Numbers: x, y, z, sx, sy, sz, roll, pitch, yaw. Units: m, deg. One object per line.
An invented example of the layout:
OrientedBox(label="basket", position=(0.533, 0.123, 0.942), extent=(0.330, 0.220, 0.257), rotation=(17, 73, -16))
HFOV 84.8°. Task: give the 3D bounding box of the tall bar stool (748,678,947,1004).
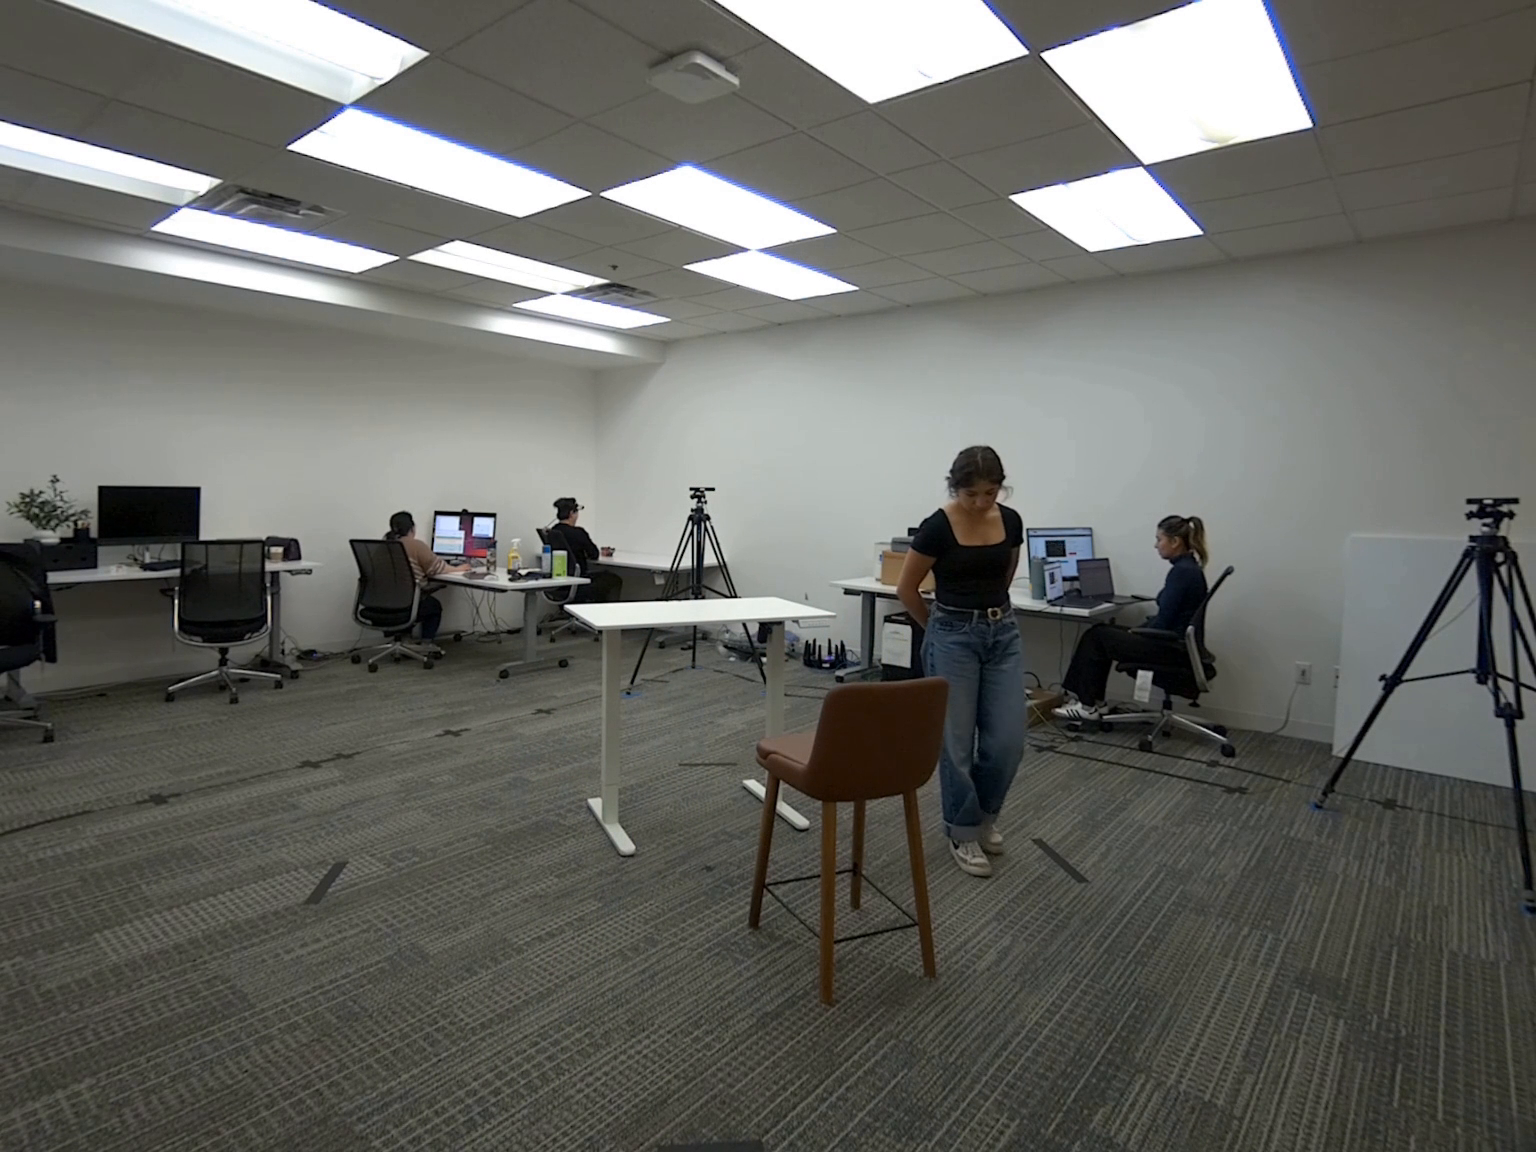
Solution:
OrientedBox(label="tall bar stool", position=(0.225, 0.695, 2.553), extent=(0.445, 0.886, 0.481), rotation=(0, 5, -26))
